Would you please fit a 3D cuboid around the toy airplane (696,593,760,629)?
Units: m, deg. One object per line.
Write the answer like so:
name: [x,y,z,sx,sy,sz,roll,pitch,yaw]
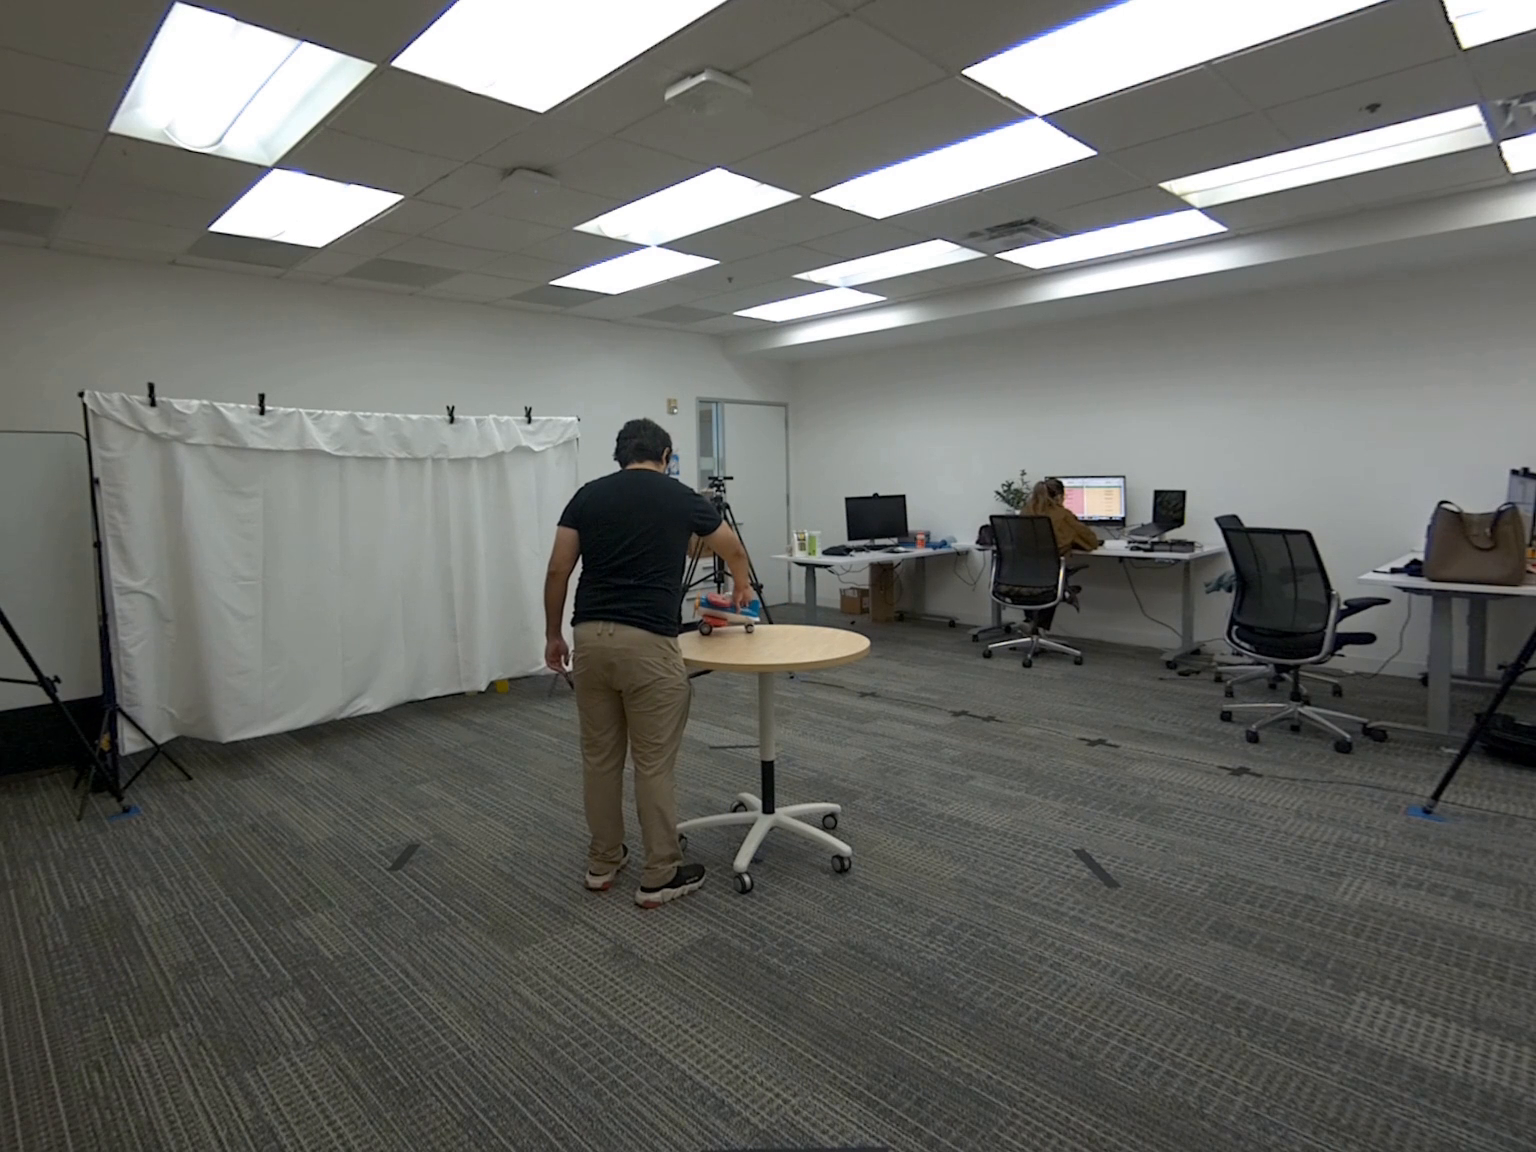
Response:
toy airplane: [-0.165,0.149,3.387,0.253,0.156,0.258,-6,5,-31]
